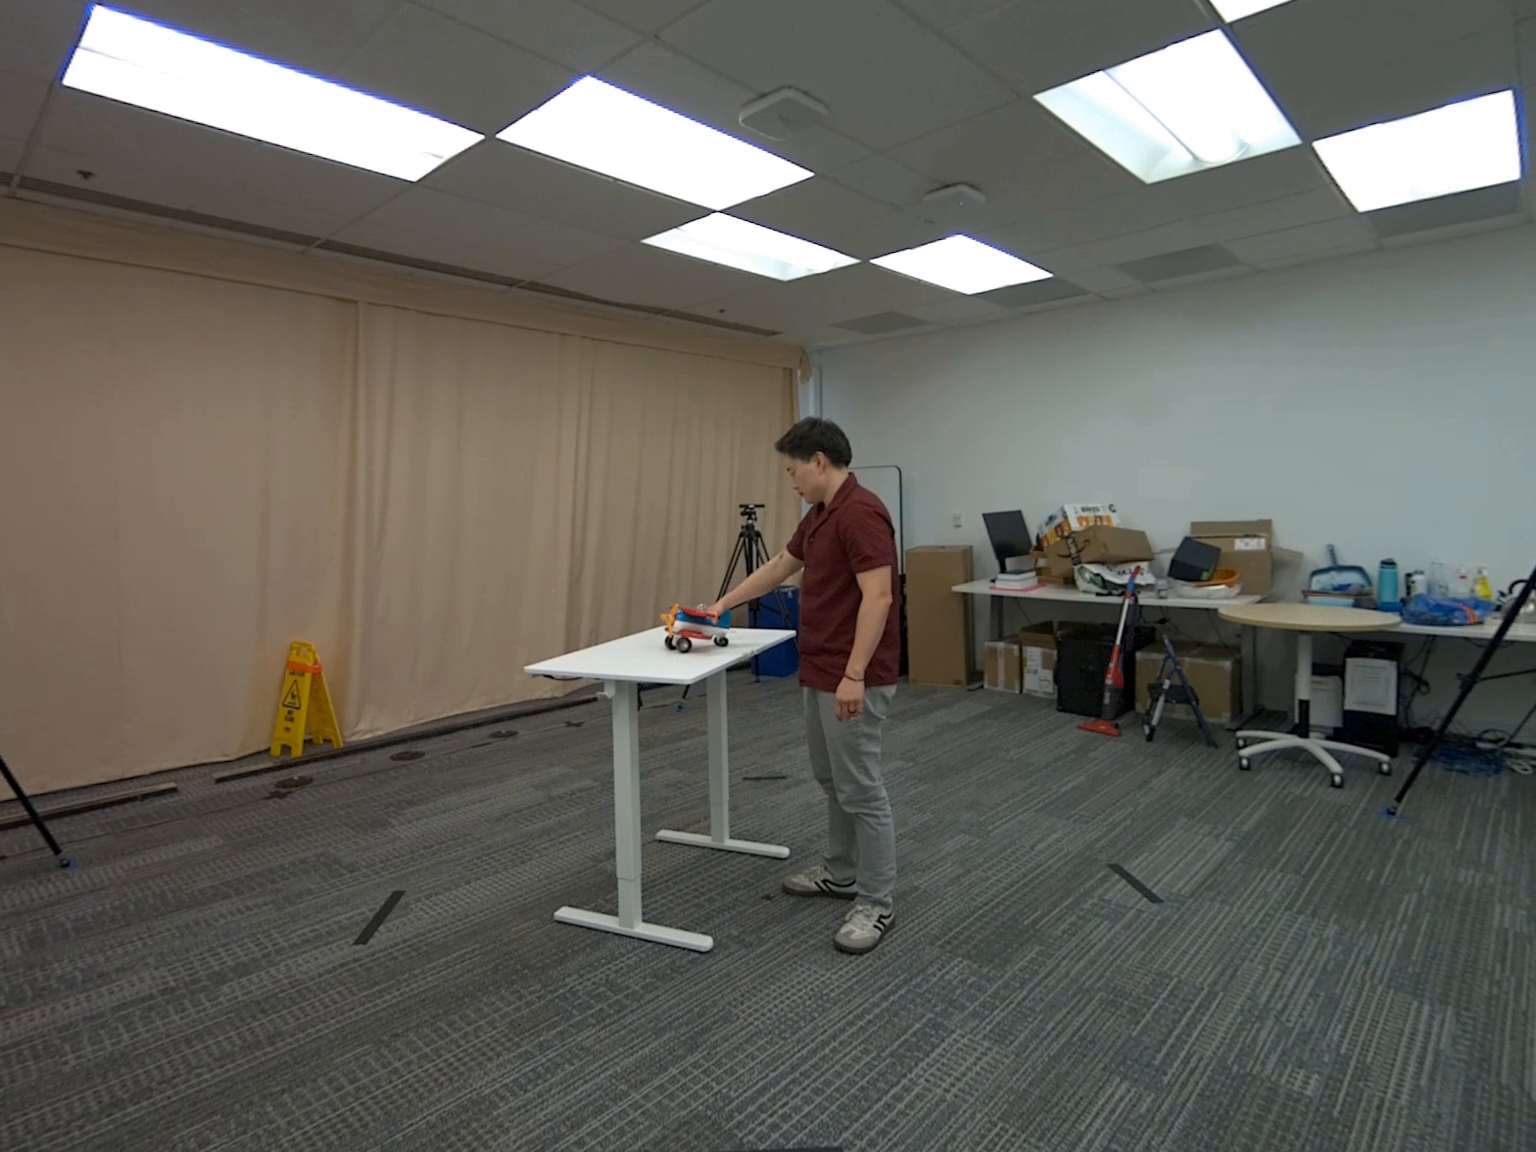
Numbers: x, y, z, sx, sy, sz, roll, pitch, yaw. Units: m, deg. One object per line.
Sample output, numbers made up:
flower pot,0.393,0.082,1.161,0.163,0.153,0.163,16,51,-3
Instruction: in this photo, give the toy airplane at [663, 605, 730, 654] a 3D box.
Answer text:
toy airplane,-0.254,0.184,3.017,0.258,0.156,0.253,0,5,29
